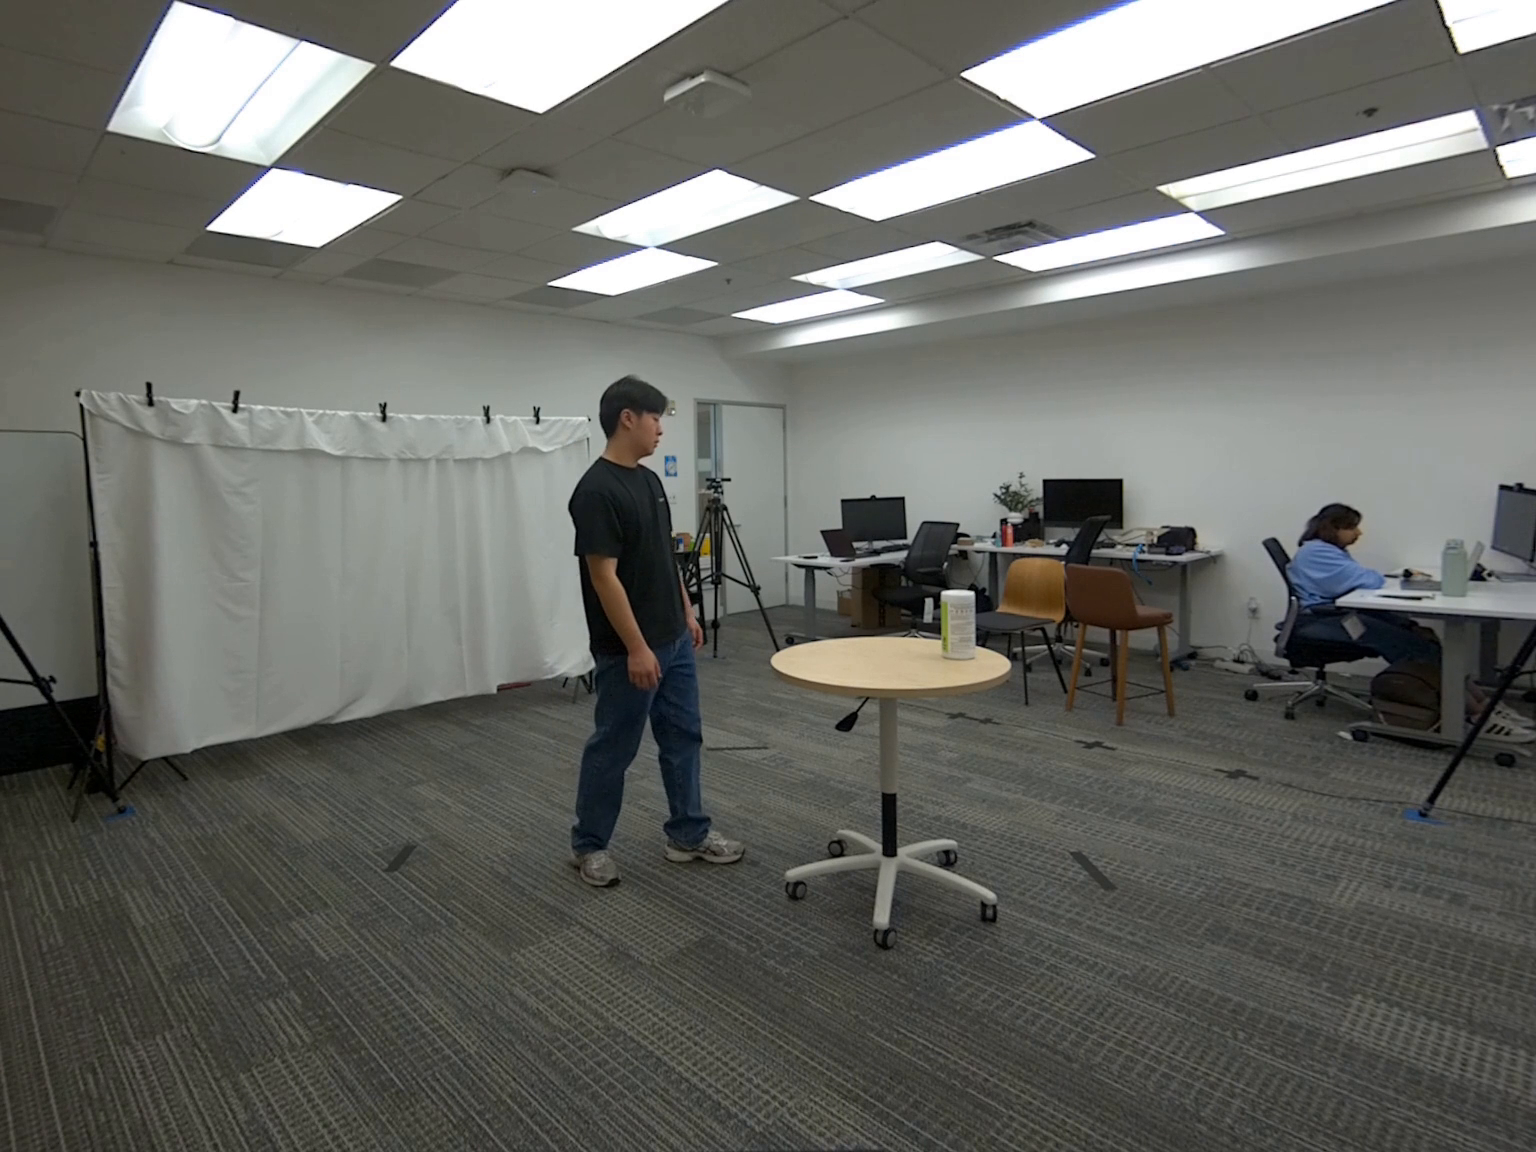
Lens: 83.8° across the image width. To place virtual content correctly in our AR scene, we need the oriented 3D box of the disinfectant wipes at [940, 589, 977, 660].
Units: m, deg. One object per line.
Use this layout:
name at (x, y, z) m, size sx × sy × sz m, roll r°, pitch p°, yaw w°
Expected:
disinfectant wipes at (0.625, 0.161, 2.803) m, size 0.118 × 0.216 × 0.118 m, roll -1°, pitch 6°, yaw -2°
